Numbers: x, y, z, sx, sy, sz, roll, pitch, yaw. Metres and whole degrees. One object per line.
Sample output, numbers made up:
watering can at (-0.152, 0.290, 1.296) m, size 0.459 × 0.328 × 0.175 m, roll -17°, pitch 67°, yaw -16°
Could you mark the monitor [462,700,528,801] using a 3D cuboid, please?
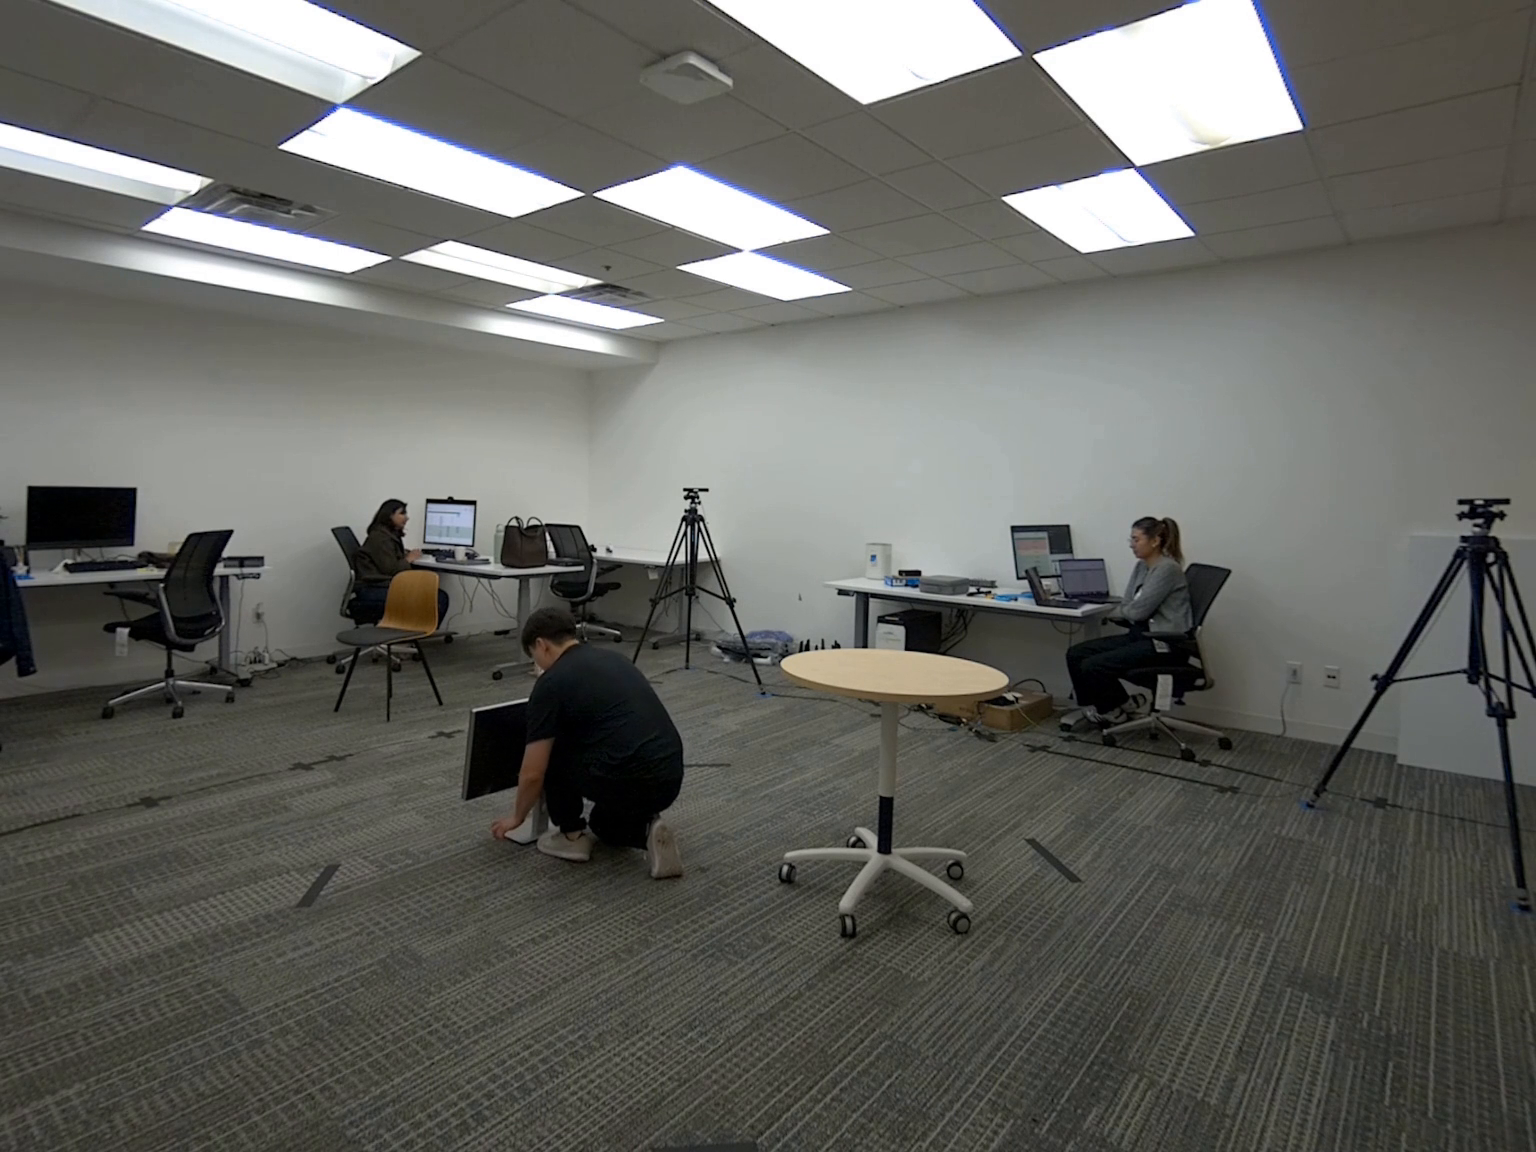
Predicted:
monitor at (-0.962, 0.760, 3.428) m, size 0.193 × 0.522 × 0.523 m, roll 0°, pitch 2°, yaw 37°
